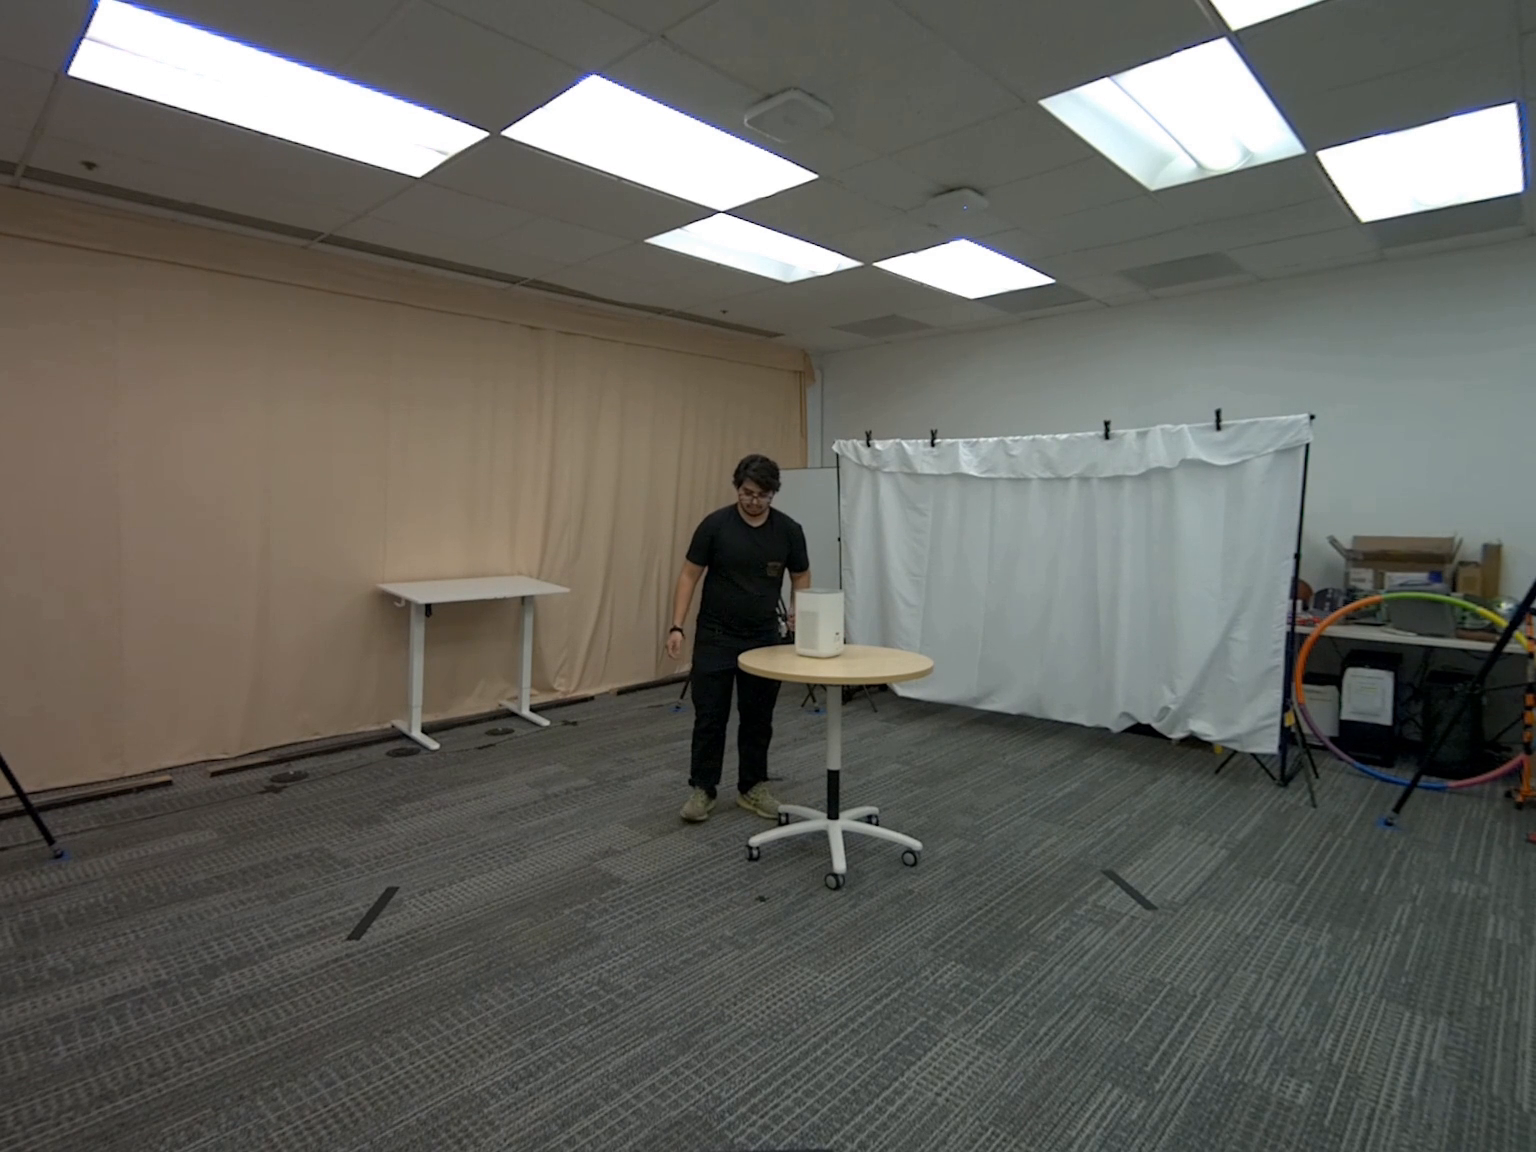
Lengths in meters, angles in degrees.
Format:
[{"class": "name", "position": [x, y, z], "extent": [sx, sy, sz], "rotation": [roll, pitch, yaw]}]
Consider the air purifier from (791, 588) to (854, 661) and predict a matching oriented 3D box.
[{"class": "air purifier", "position": [0.216, 0.189, 3.421], "extent": [0.179, 0.262, 0.163], "rotation": [5, 4, 38]}]
